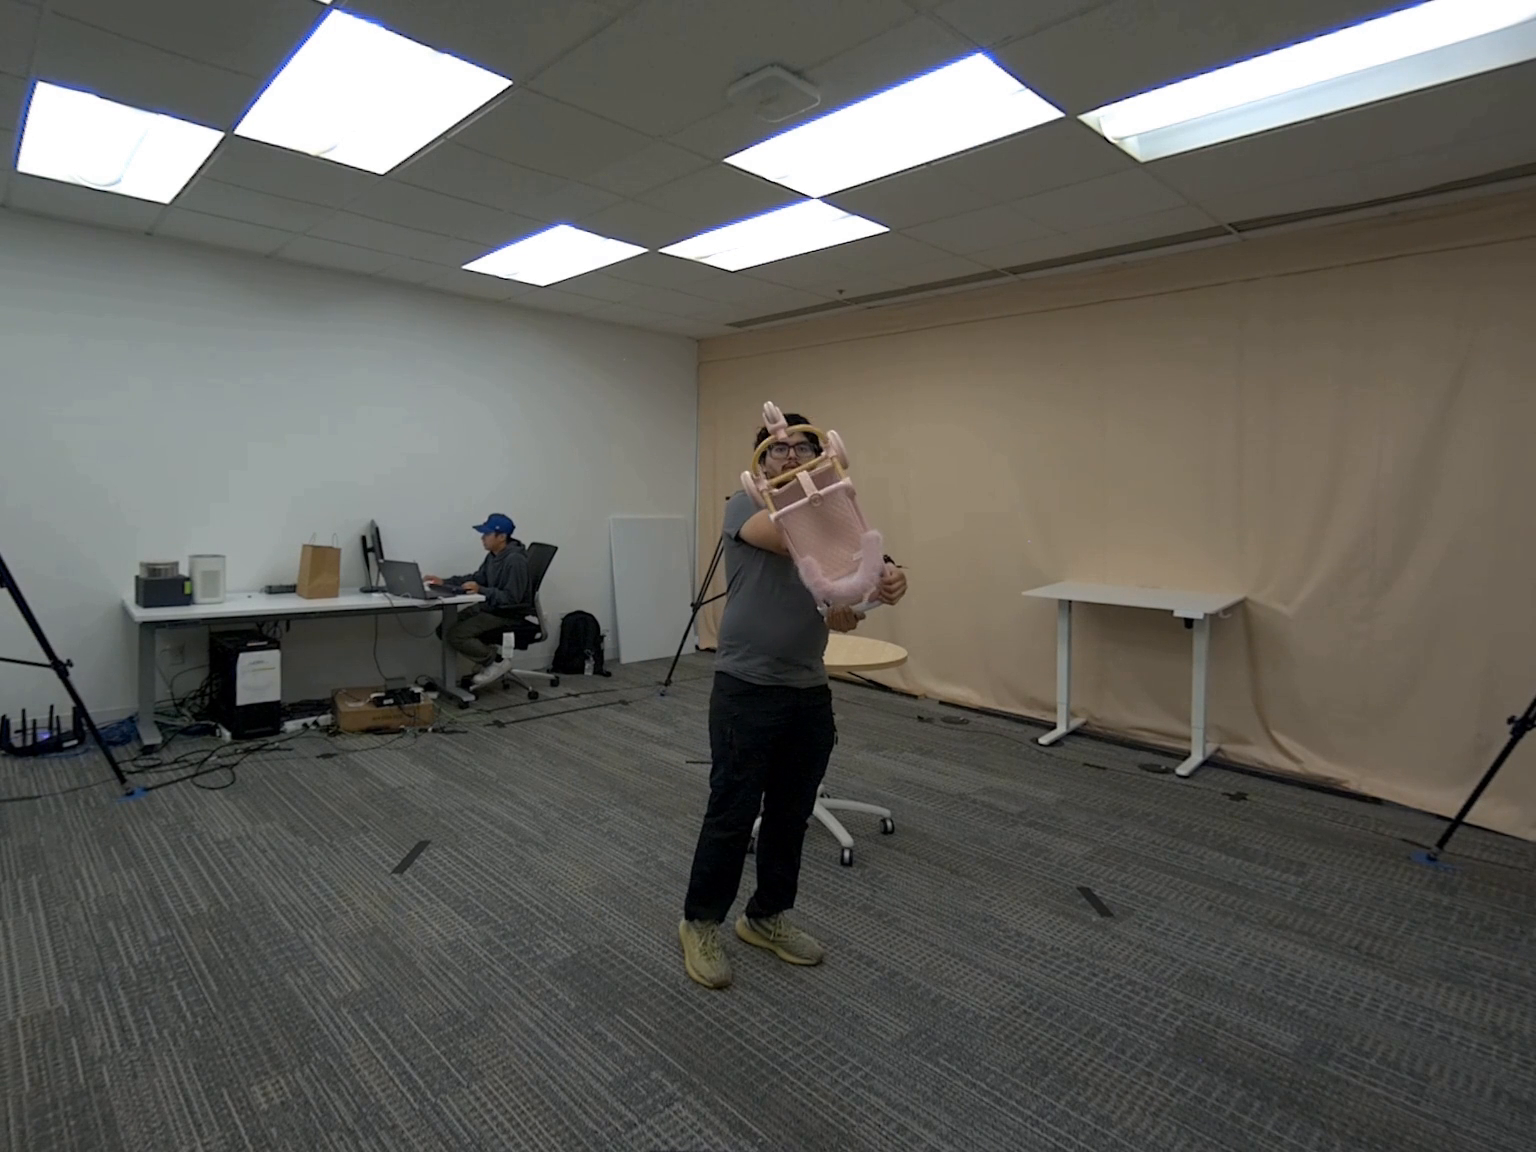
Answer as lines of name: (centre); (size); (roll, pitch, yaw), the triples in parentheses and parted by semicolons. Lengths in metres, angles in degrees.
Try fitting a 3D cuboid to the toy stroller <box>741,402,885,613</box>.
toy stroller: (0.118, -0.155, 2.093); (0.281, 0.541, 0.337); (-24, -10, 1)
